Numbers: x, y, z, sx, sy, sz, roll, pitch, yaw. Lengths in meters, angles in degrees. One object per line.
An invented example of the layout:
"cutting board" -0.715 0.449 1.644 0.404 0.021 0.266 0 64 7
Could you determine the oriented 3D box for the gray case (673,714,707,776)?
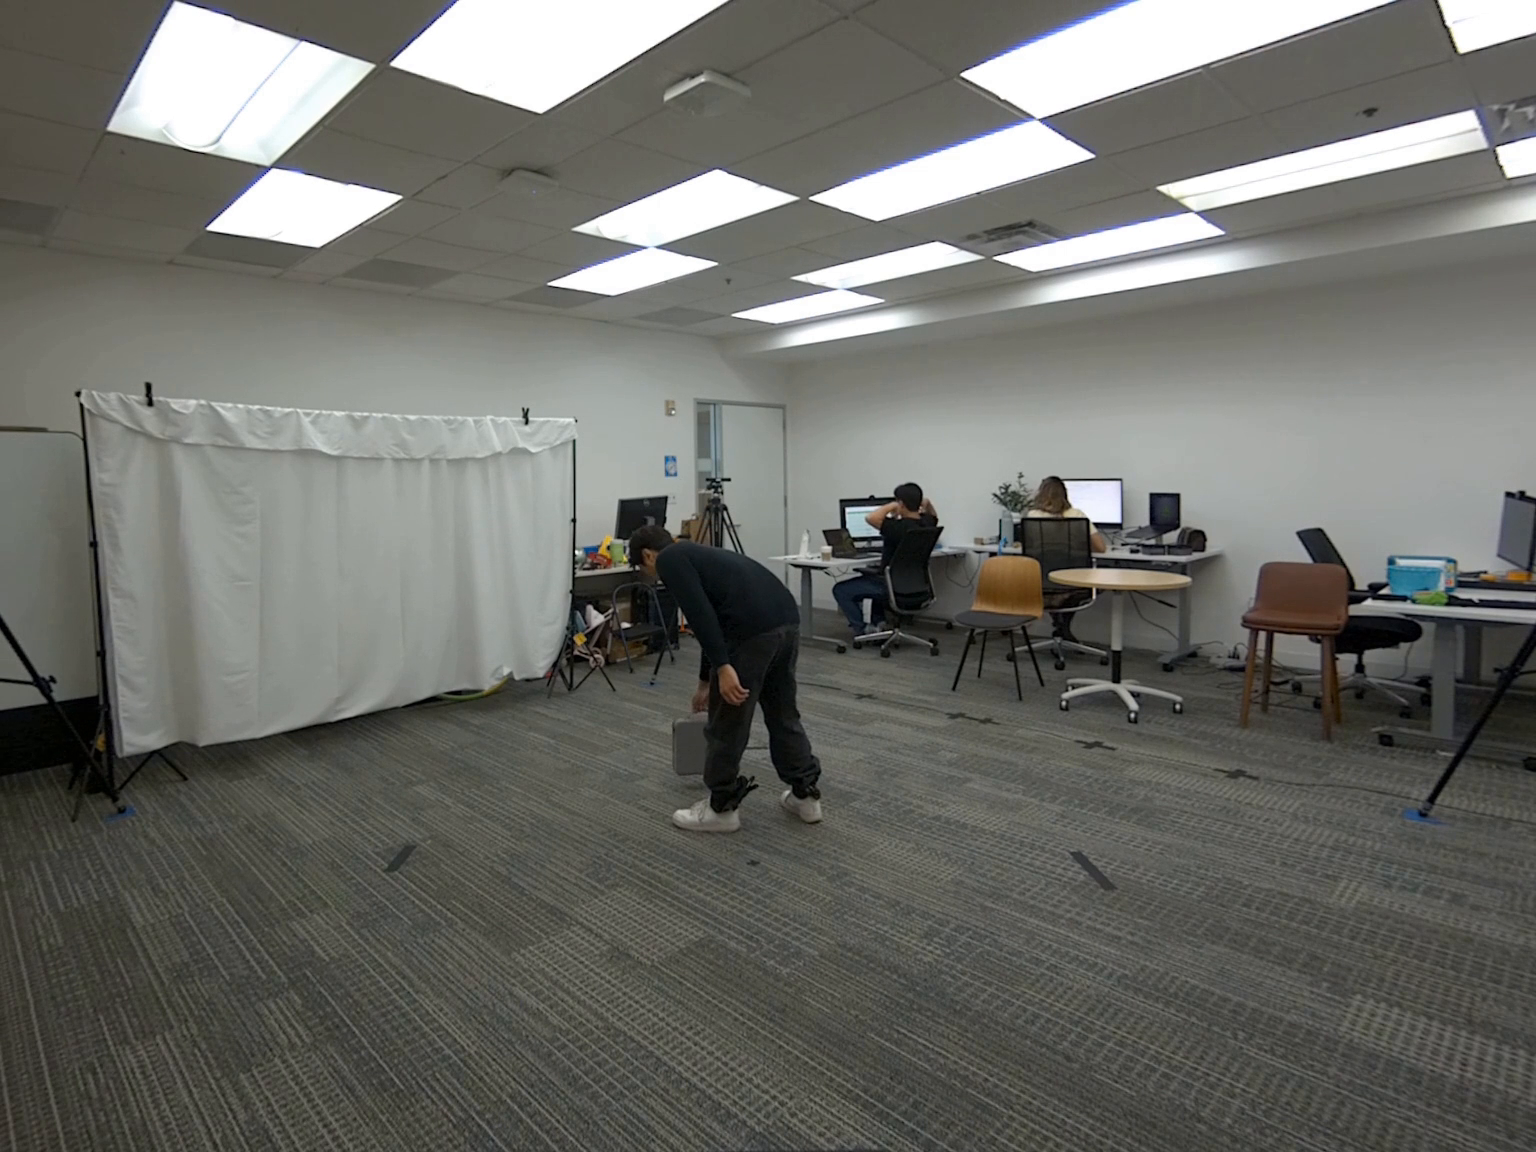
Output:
"gray case" -0.299 0.764 3.887 0.255 0.260 0.105 -2 1 -7
